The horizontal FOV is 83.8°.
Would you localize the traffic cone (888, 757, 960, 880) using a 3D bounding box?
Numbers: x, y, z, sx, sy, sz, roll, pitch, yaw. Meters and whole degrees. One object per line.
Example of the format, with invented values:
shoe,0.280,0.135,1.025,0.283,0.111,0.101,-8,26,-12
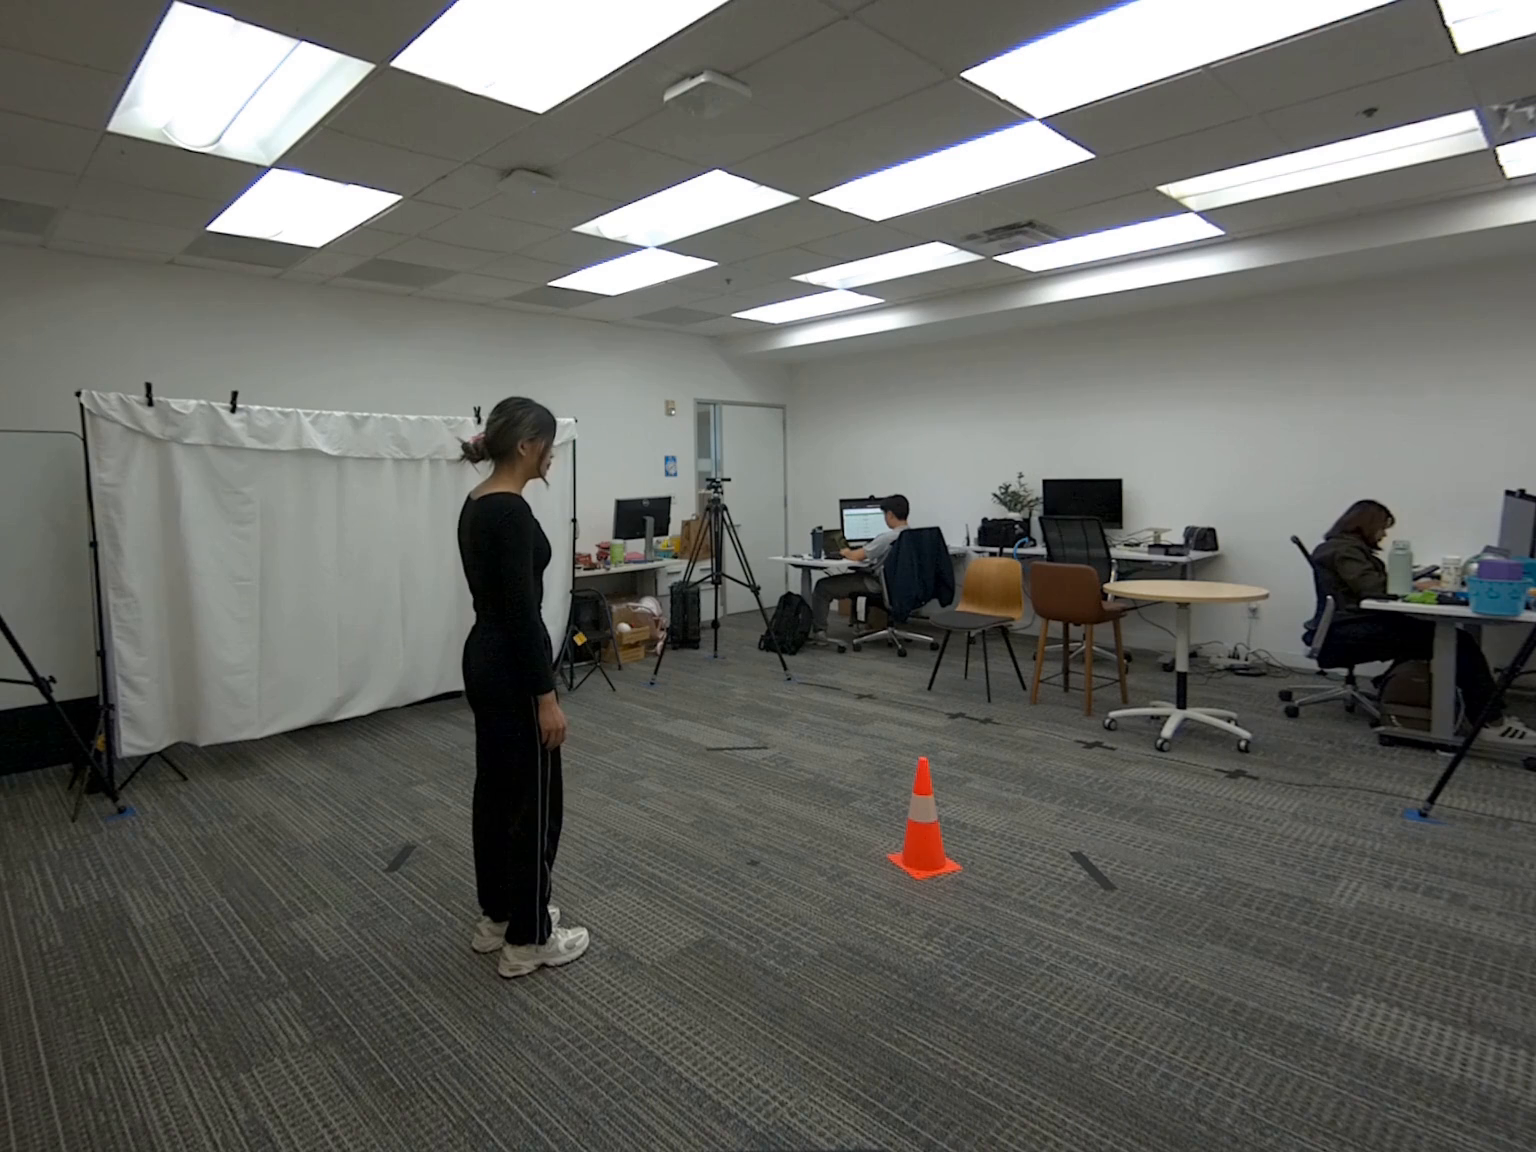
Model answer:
traffic cone,0.568,0.851,3.075,0.201,0.382,0.208,-1,4,-22
